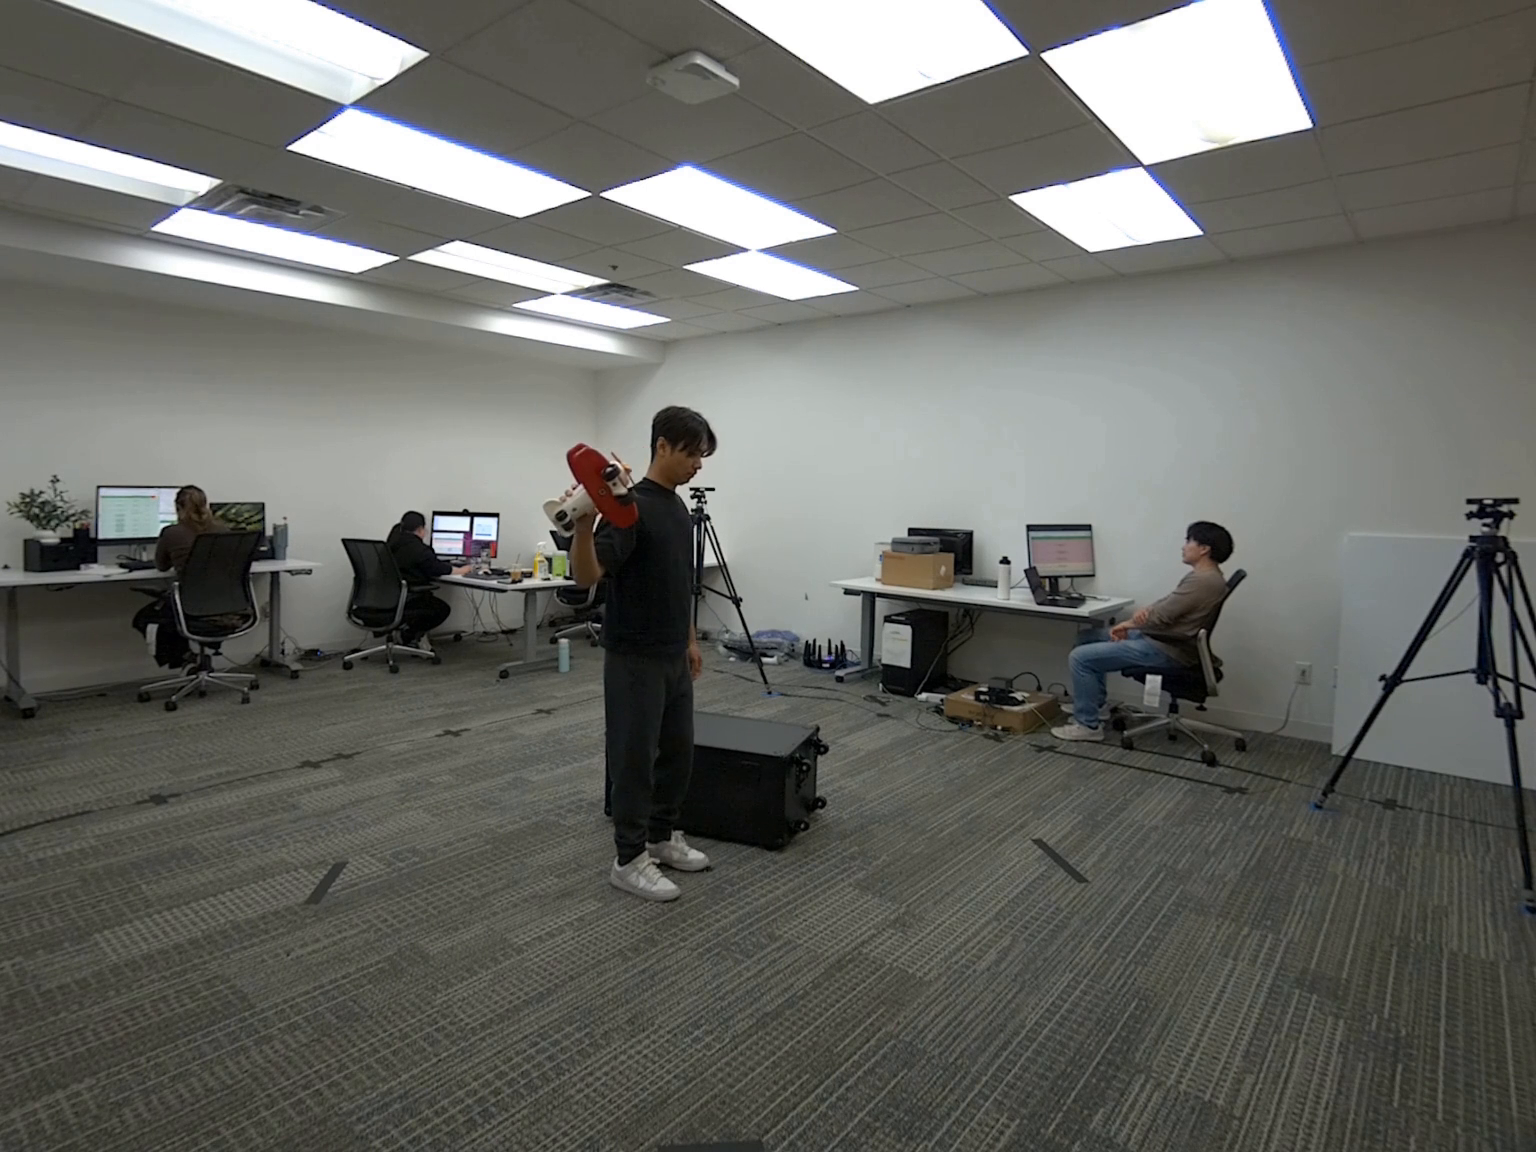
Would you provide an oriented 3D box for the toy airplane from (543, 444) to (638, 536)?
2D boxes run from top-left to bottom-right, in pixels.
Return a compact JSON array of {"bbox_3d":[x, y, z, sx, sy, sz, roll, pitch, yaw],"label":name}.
[{"bbox_3d":[-0.504,-0.243,2.361,0.257,0.246,0.161,-5,22,-11],"label":"toy airplane"}]
